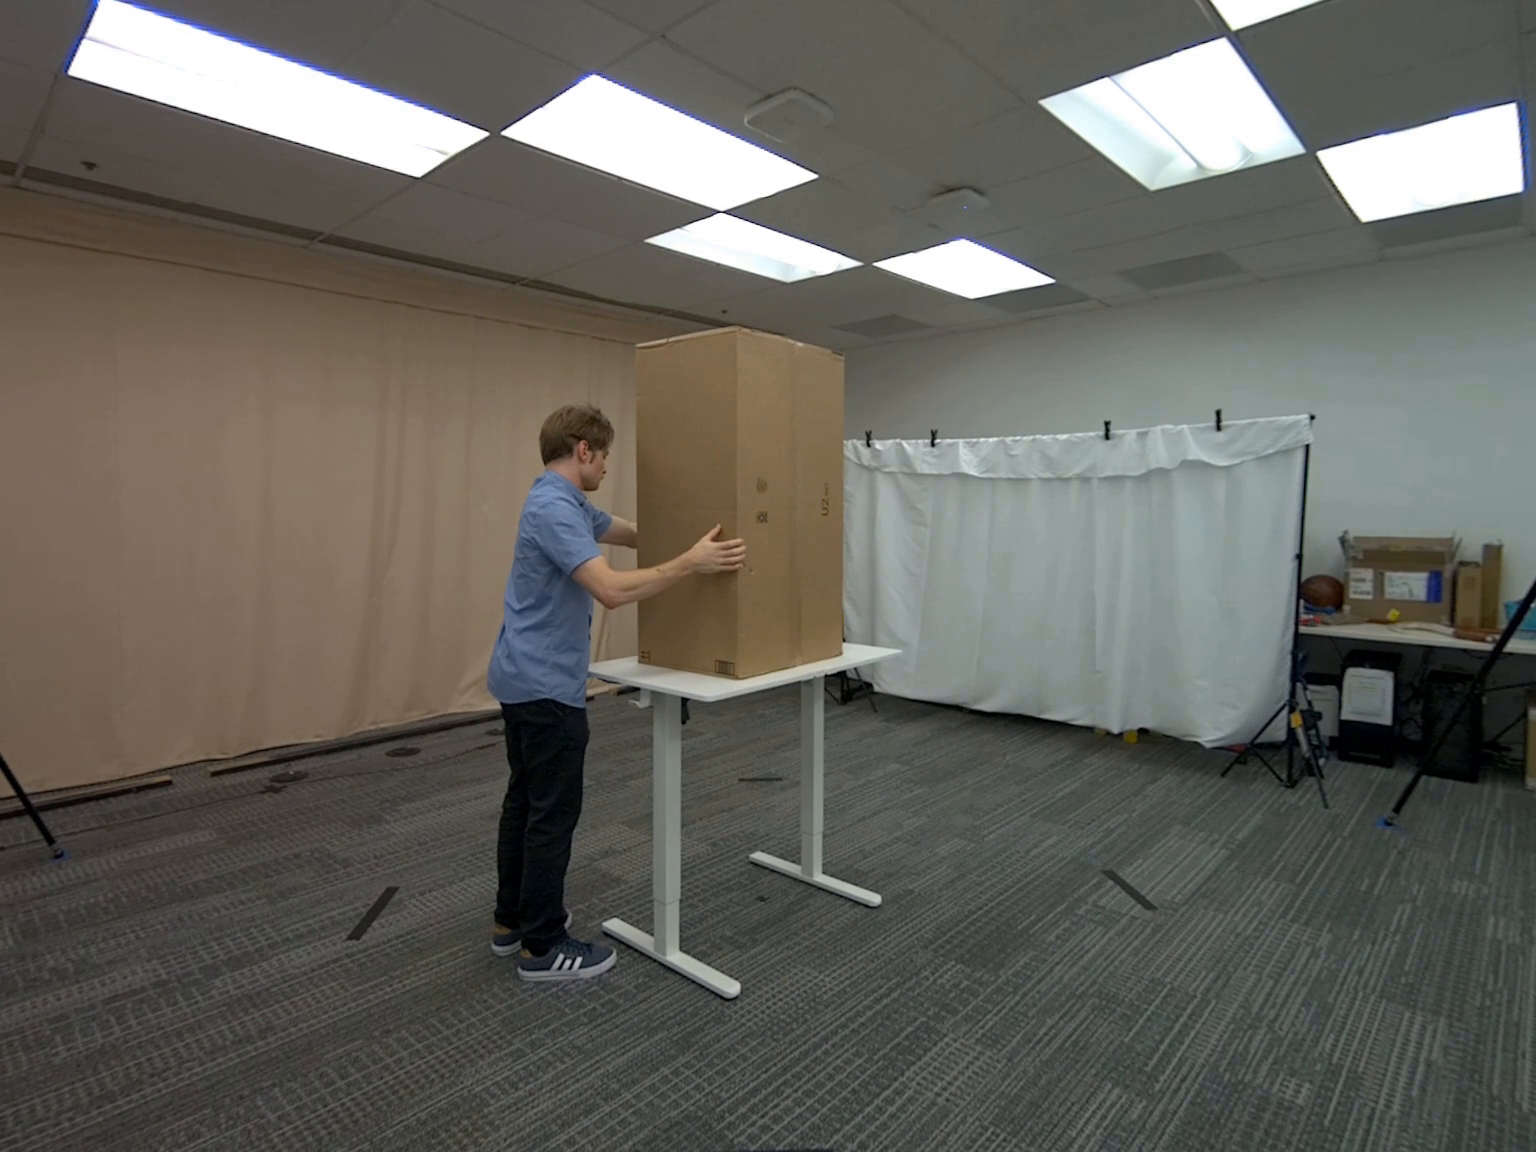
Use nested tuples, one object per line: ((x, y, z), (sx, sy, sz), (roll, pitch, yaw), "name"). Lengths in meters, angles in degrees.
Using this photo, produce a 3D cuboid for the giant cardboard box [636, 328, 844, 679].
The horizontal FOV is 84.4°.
((-0.084, -0.228, 2.773), (0.440, 1.023, 0.560), (3, 4, 40), "giant cardboard box")
